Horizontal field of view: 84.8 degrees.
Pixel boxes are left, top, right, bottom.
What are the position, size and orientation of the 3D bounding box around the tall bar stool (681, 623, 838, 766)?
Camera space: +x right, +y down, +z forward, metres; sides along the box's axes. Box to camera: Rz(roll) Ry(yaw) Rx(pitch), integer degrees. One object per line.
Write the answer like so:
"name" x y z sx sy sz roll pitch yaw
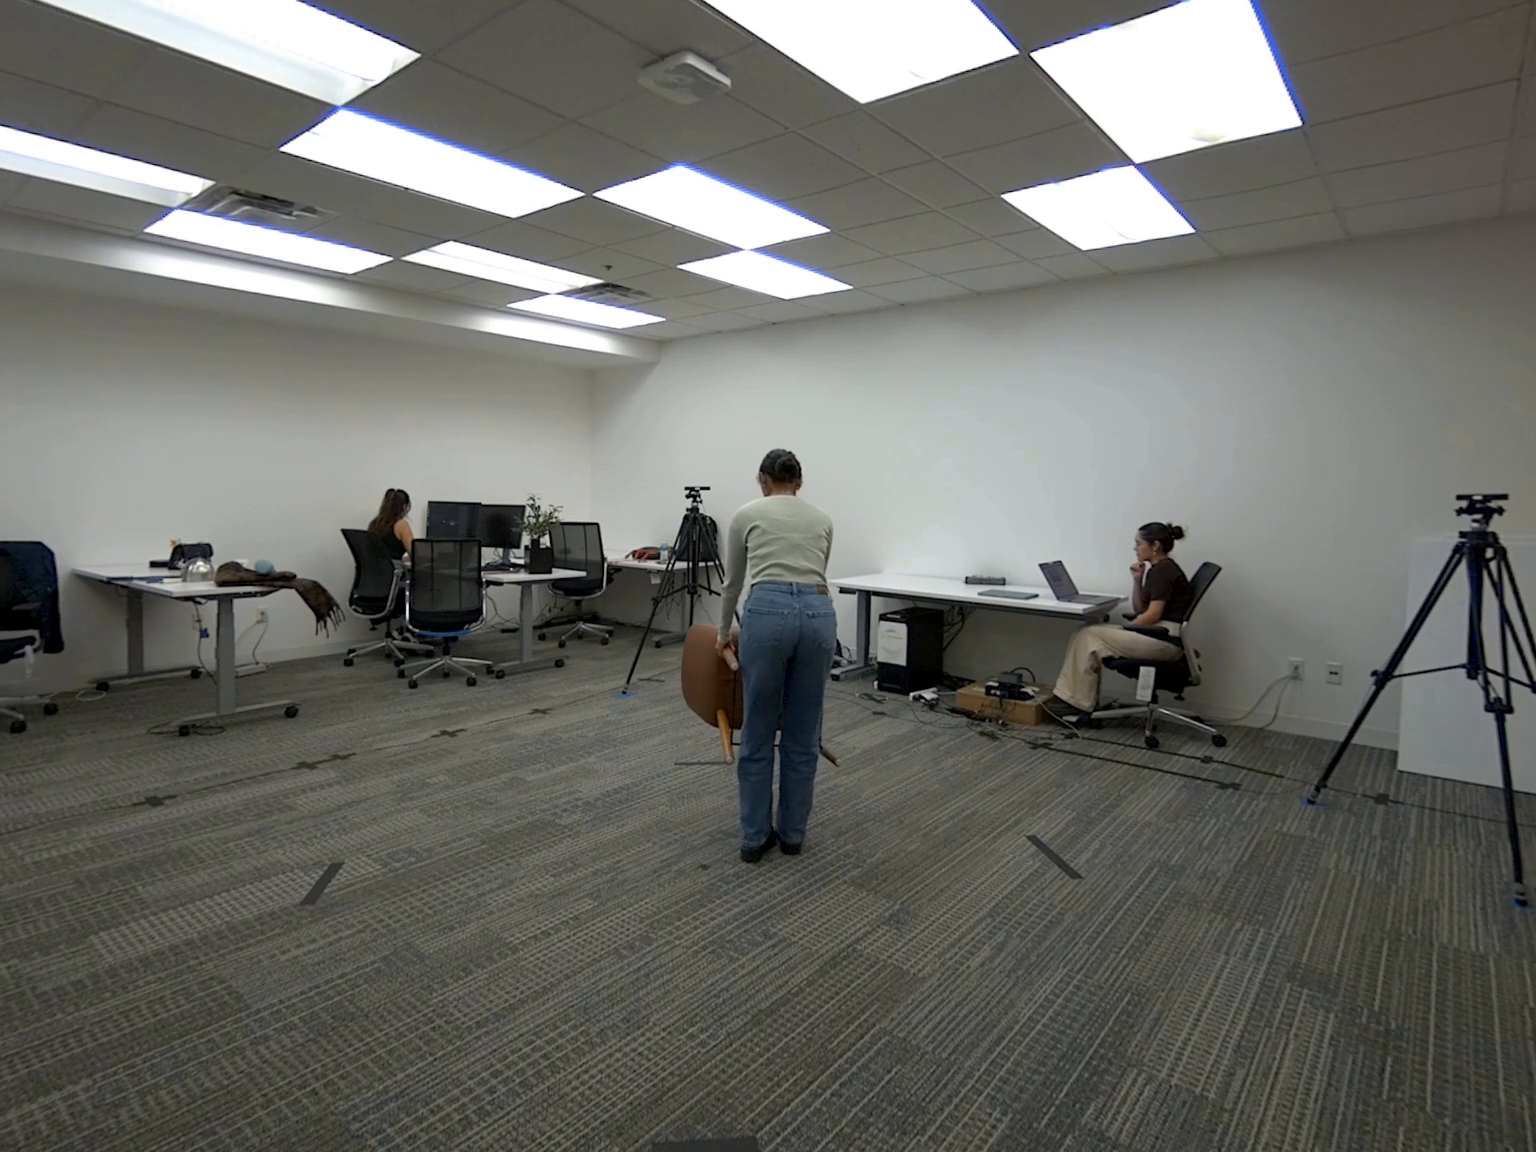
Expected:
"tall bar stool" -0.060 0.468 3.588 0.460 0.455 0.907 2 5 -16
